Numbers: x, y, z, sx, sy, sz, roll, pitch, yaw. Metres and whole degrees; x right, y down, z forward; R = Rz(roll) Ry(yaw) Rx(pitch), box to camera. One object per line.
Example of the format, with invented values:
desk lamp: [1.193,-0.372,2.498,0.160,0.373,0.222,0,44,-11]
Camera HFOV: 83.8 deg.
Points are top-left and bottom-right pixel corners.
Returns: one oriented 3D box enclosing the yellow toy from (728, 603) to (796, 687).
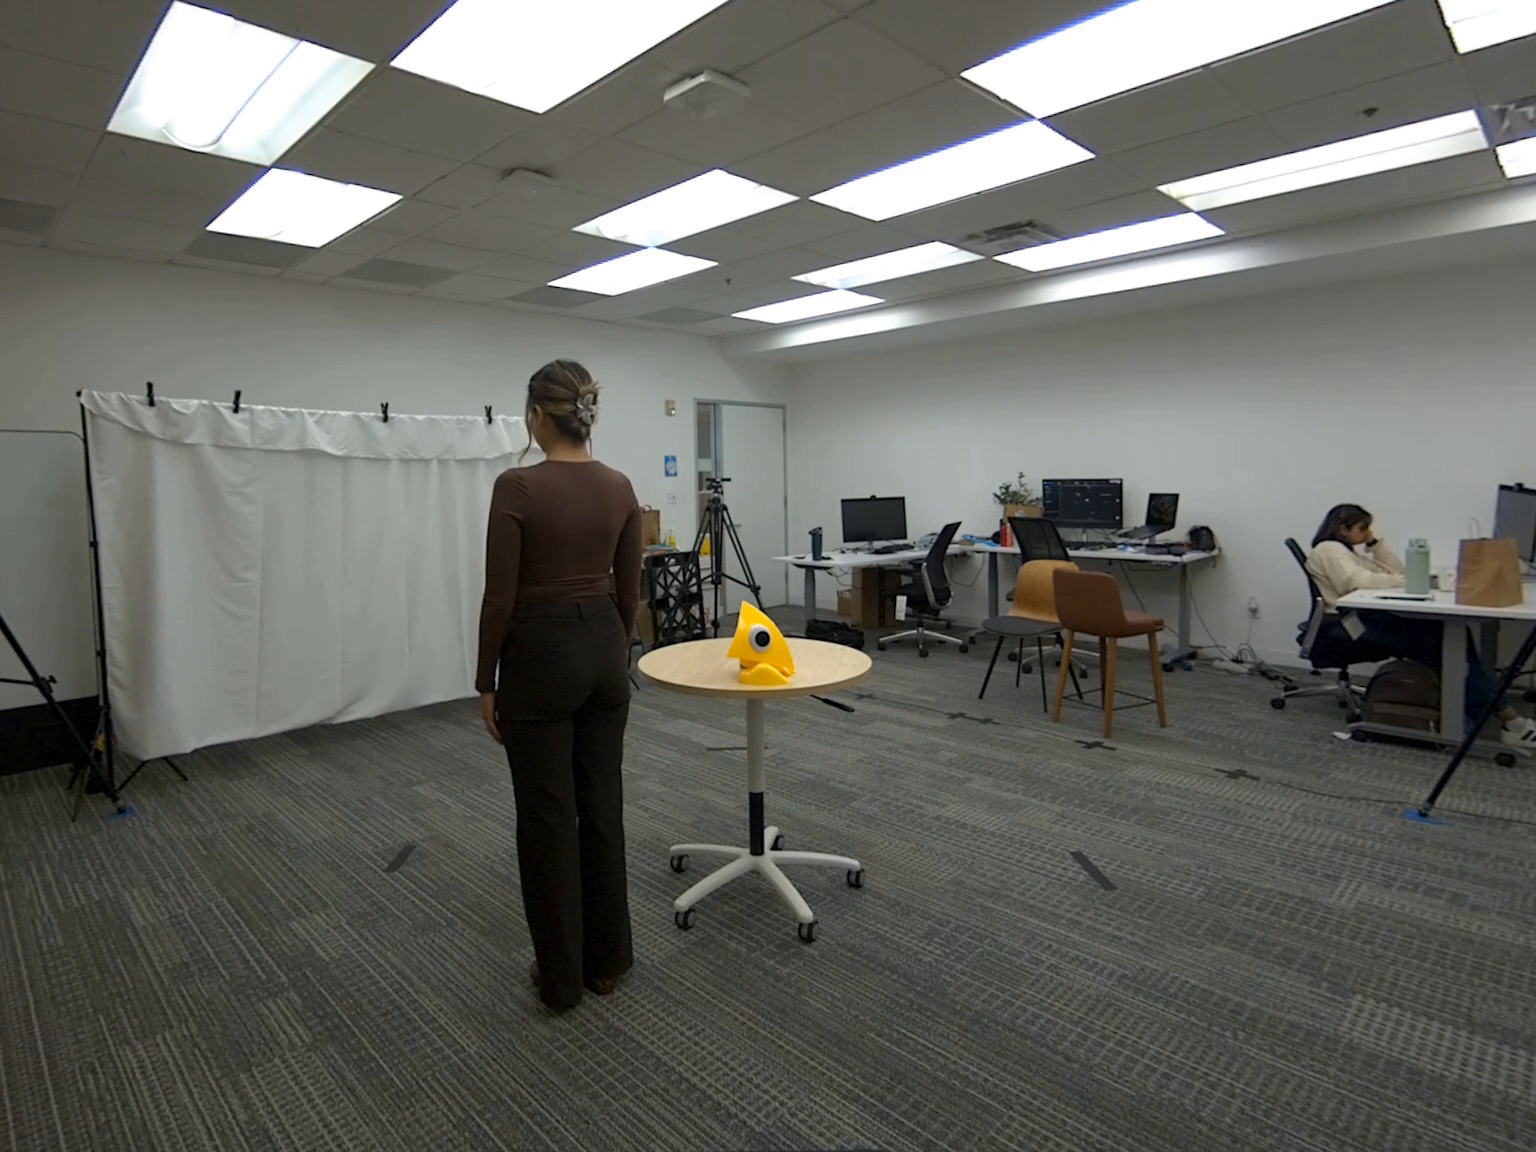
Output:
yellow toy: [-0.011,0.194,2.584,0.195,0.230,0.203,0,6,12]
